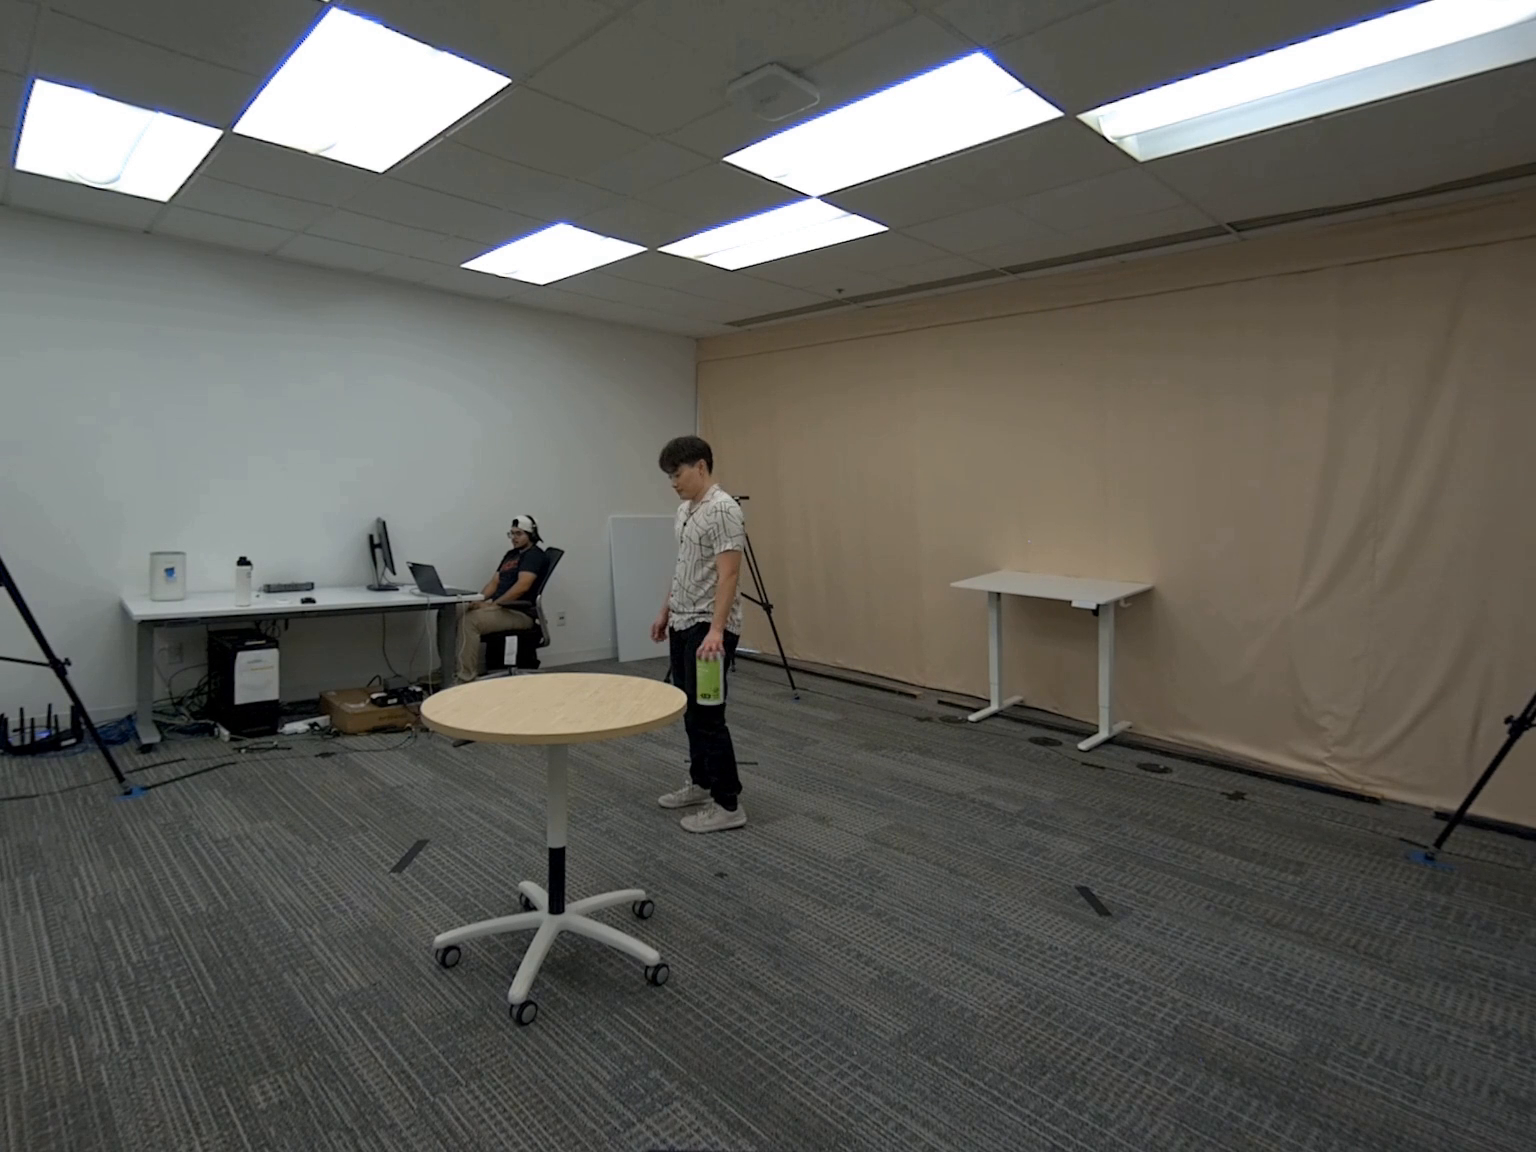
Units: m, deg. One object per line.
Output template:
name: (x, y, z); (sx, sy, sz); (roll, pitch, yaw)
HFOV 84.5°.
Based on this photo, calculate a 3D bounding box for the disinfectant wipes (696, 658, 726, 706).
disinfectant wipes: (-0.249, 0.406, 3.417); (0.118, 0.217, 0.118); (-1, 3, -1)
